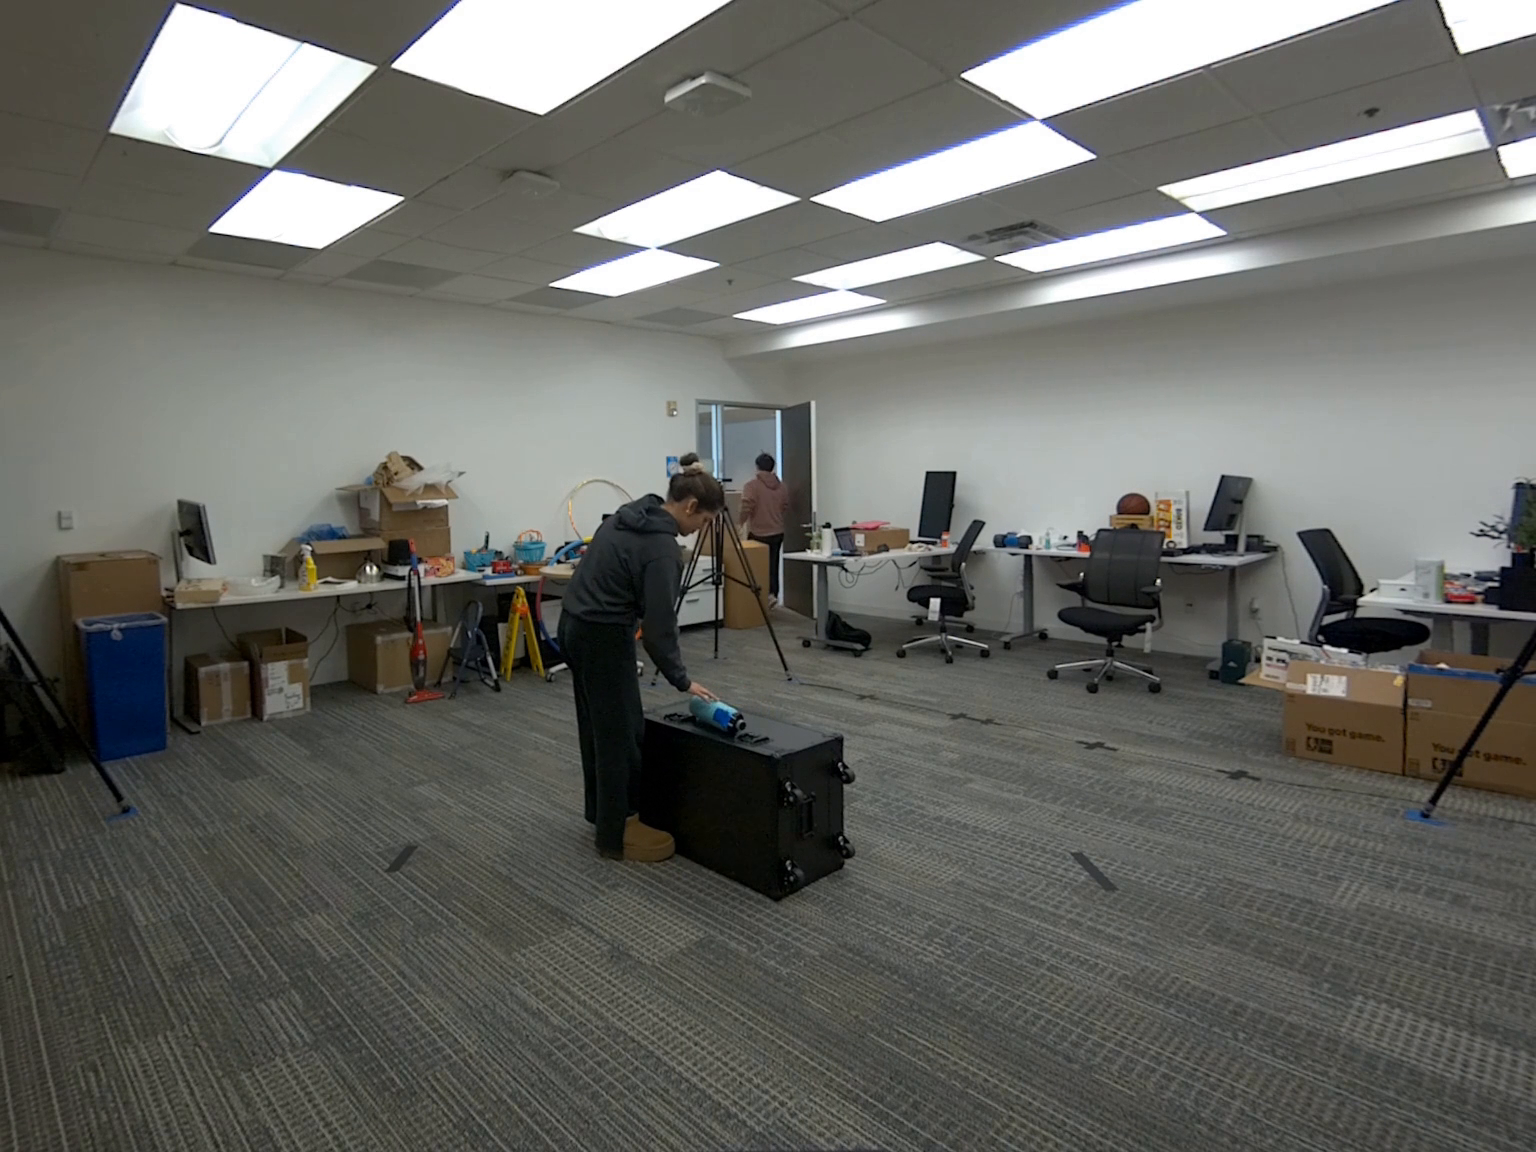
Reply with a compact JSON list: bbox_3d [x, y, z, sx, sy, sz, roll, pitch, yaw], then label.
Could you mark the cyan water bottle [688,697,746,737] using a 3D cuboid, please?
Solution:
[{"bbox_3d":[-0.181,0.508,3.150,0.090,0.092,0.292,-4,9,-34],"label":"cyan water bottle"}]
